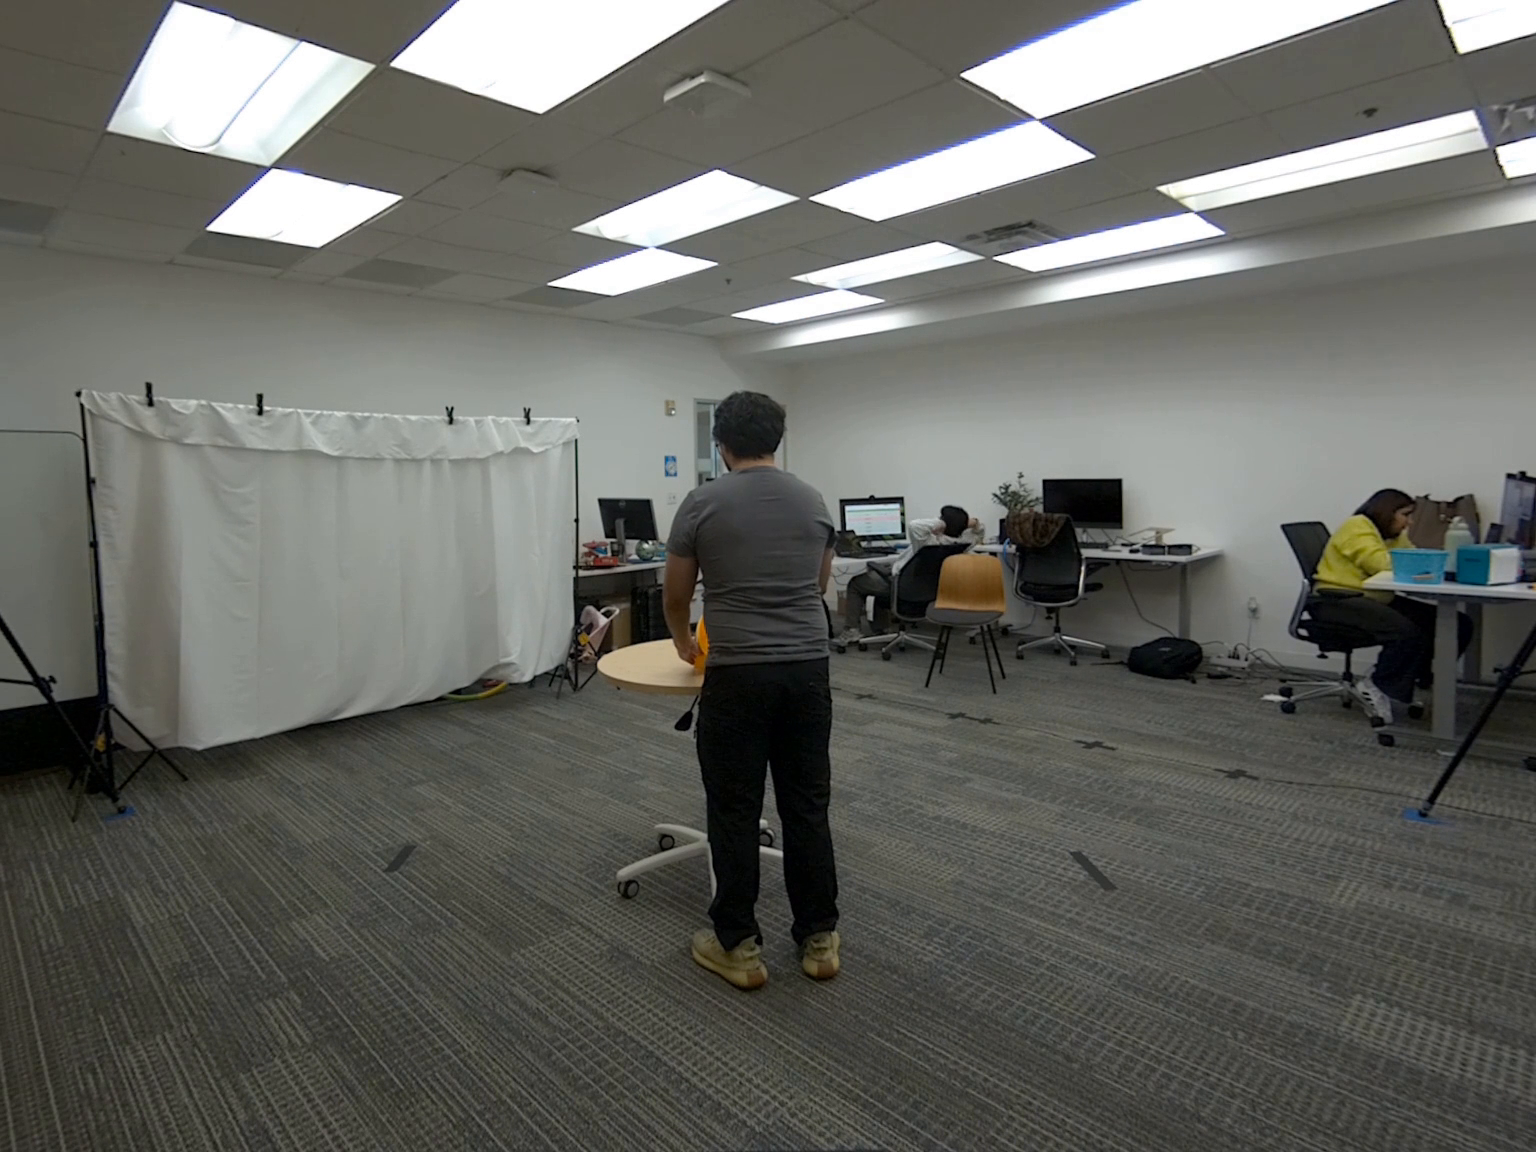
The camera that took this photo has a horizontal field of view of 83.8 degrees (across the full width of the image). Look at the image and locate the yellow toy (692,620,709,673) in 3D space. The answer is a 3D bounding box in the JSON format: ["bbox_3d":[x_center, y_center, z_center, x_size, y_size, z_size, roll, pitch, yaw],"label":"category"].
[{"bbox_3d":[-0.166,0.210,2.825,0.201,0.195,0.233,-3,-8,-22],"label":"yellow toy"}]
